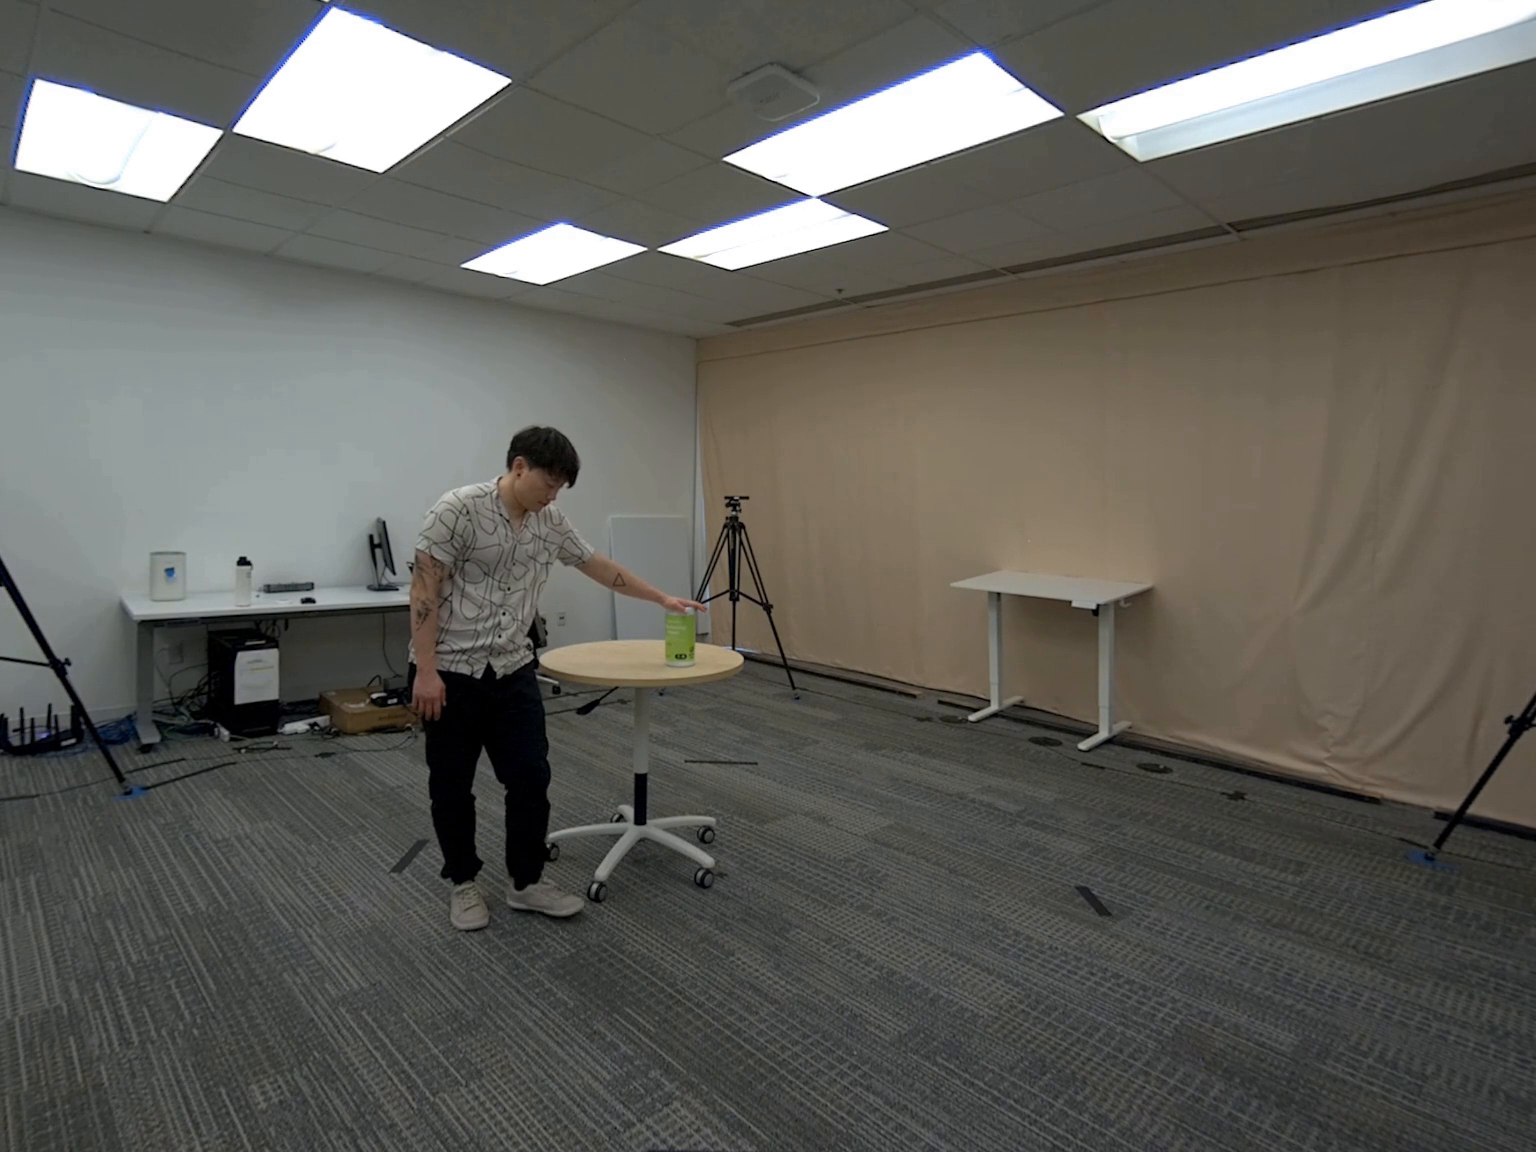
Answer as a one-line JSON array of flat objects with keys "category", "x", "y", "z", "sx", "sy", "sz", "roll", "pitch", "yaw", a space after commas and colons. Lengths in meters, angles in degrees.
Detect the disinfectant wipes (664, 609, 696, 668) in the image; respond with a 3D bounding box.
[{"category": "disinfectant wipes", "x": -0.323, "y": 0.220, "z": 3.053, "sx": 0.118, "sy": 0.216, "sz": 0.118, "roll": 1, "pitch": 6, "yaw": -1}]
